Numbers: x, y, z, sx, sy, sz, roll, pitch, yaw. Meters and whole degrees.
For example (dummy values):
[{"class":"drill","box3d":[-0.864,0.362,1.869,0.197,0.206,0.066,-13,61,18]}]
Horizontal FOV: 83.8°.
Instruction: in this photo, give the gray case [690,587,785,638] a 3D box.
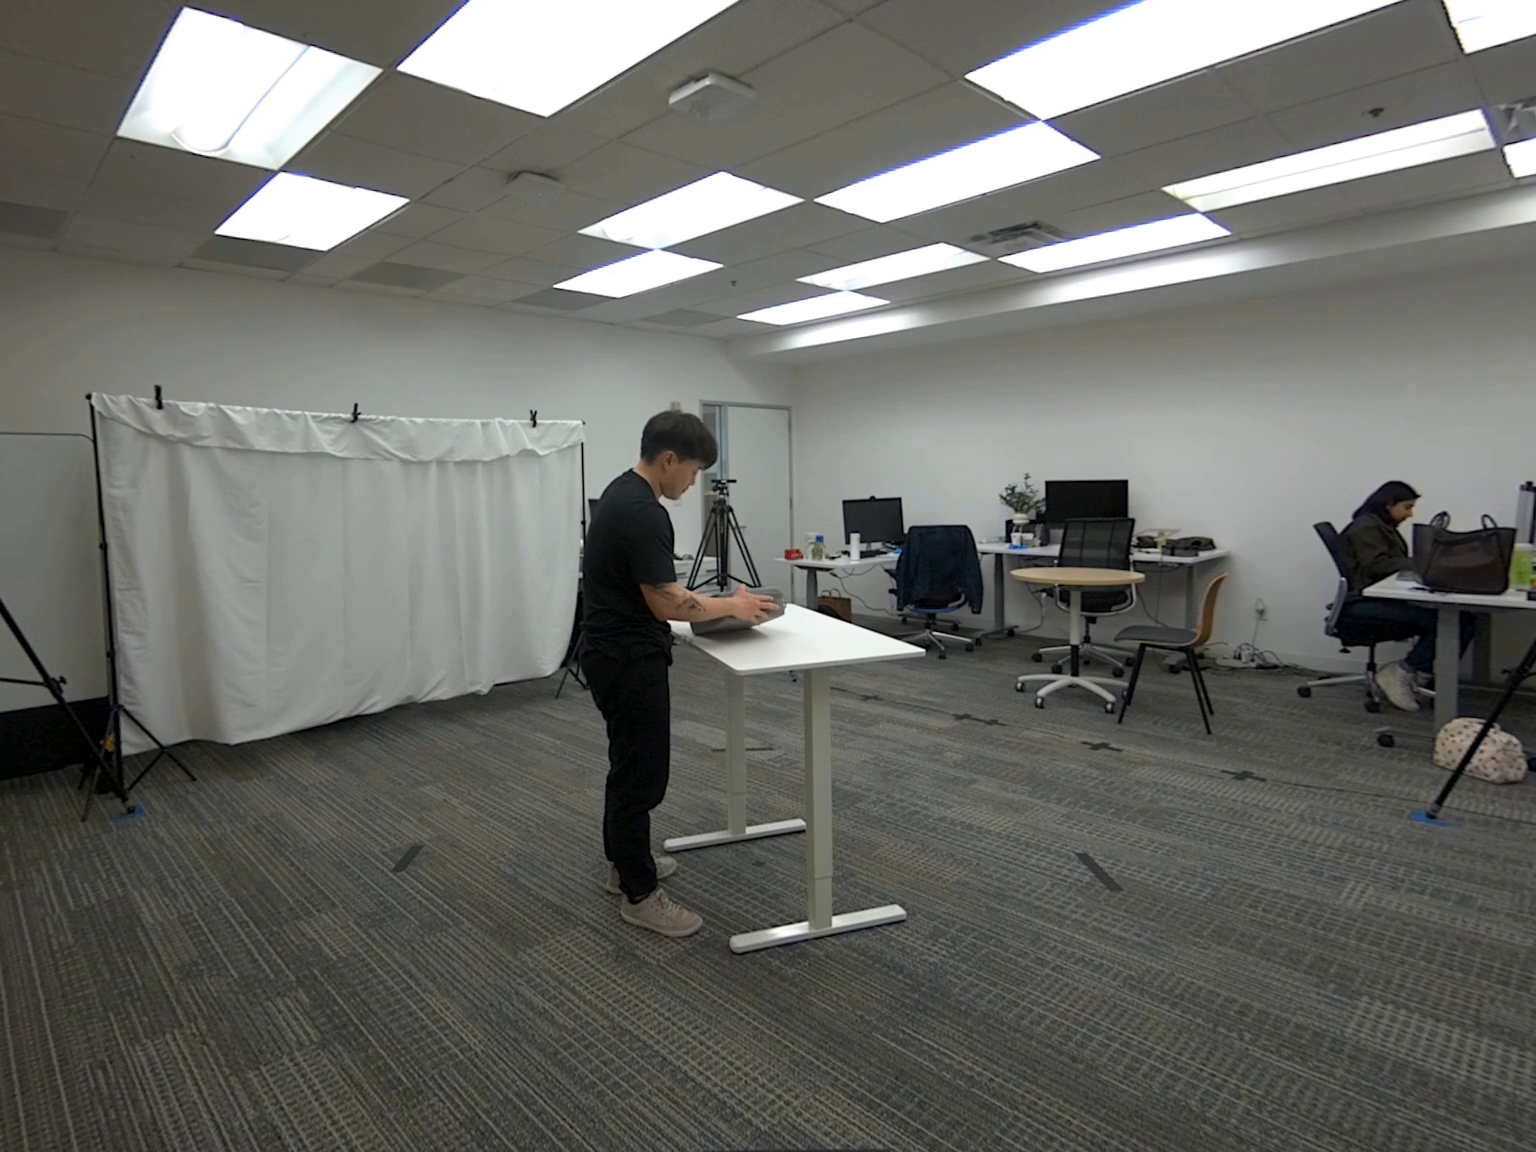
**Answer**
[{"class":"gray case","box3d":[-0.102,0.115,2.839,0.251,0.105,0.263,-5,-10,-28]}]
